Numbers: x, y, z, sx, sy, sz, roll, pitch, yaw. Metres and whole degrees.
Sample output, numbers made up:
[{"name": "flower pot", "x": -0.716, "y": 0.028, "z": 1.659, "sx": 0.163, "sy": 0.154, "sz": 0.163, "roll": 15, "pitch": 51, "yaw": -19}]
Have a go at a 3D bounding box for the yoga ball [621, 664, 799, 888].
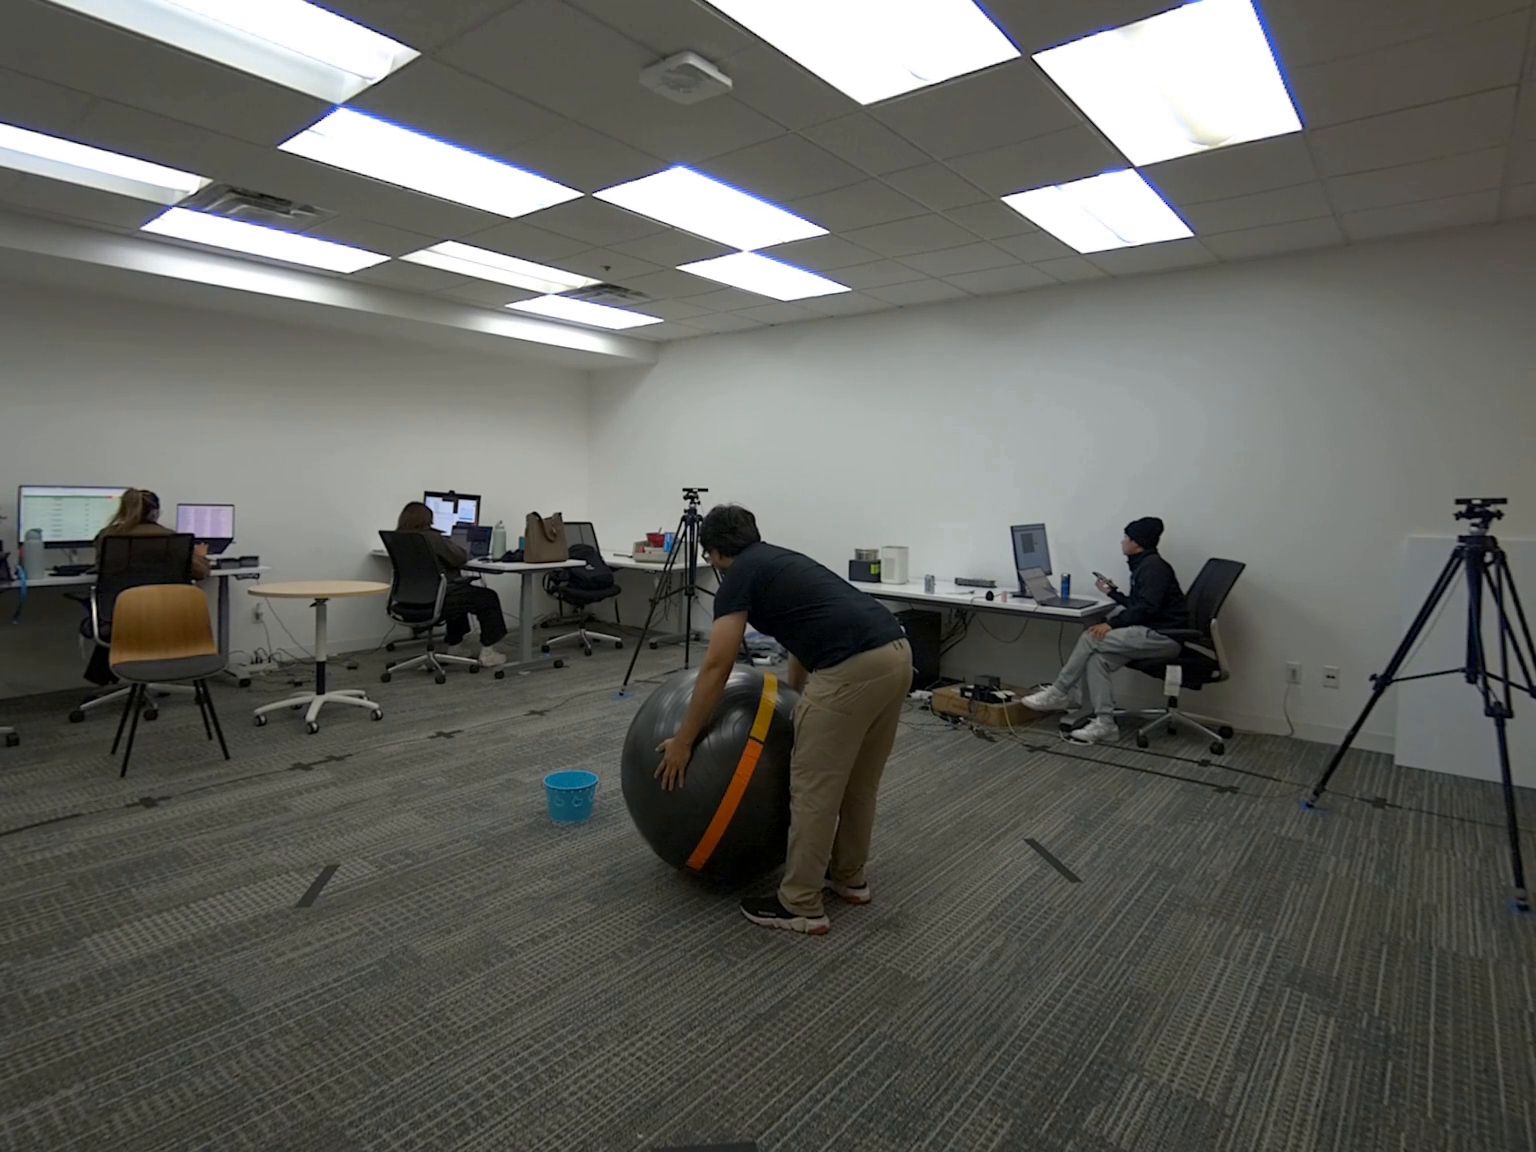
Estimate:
[{"name": "yoga ball", "x": -0.165, "y": 0.699, "z": 3.083, "sx": 0.757, "sy": 0.756, "sz": 0.762, "roll": 1, "pitch": 4, "yaw": -2}]
